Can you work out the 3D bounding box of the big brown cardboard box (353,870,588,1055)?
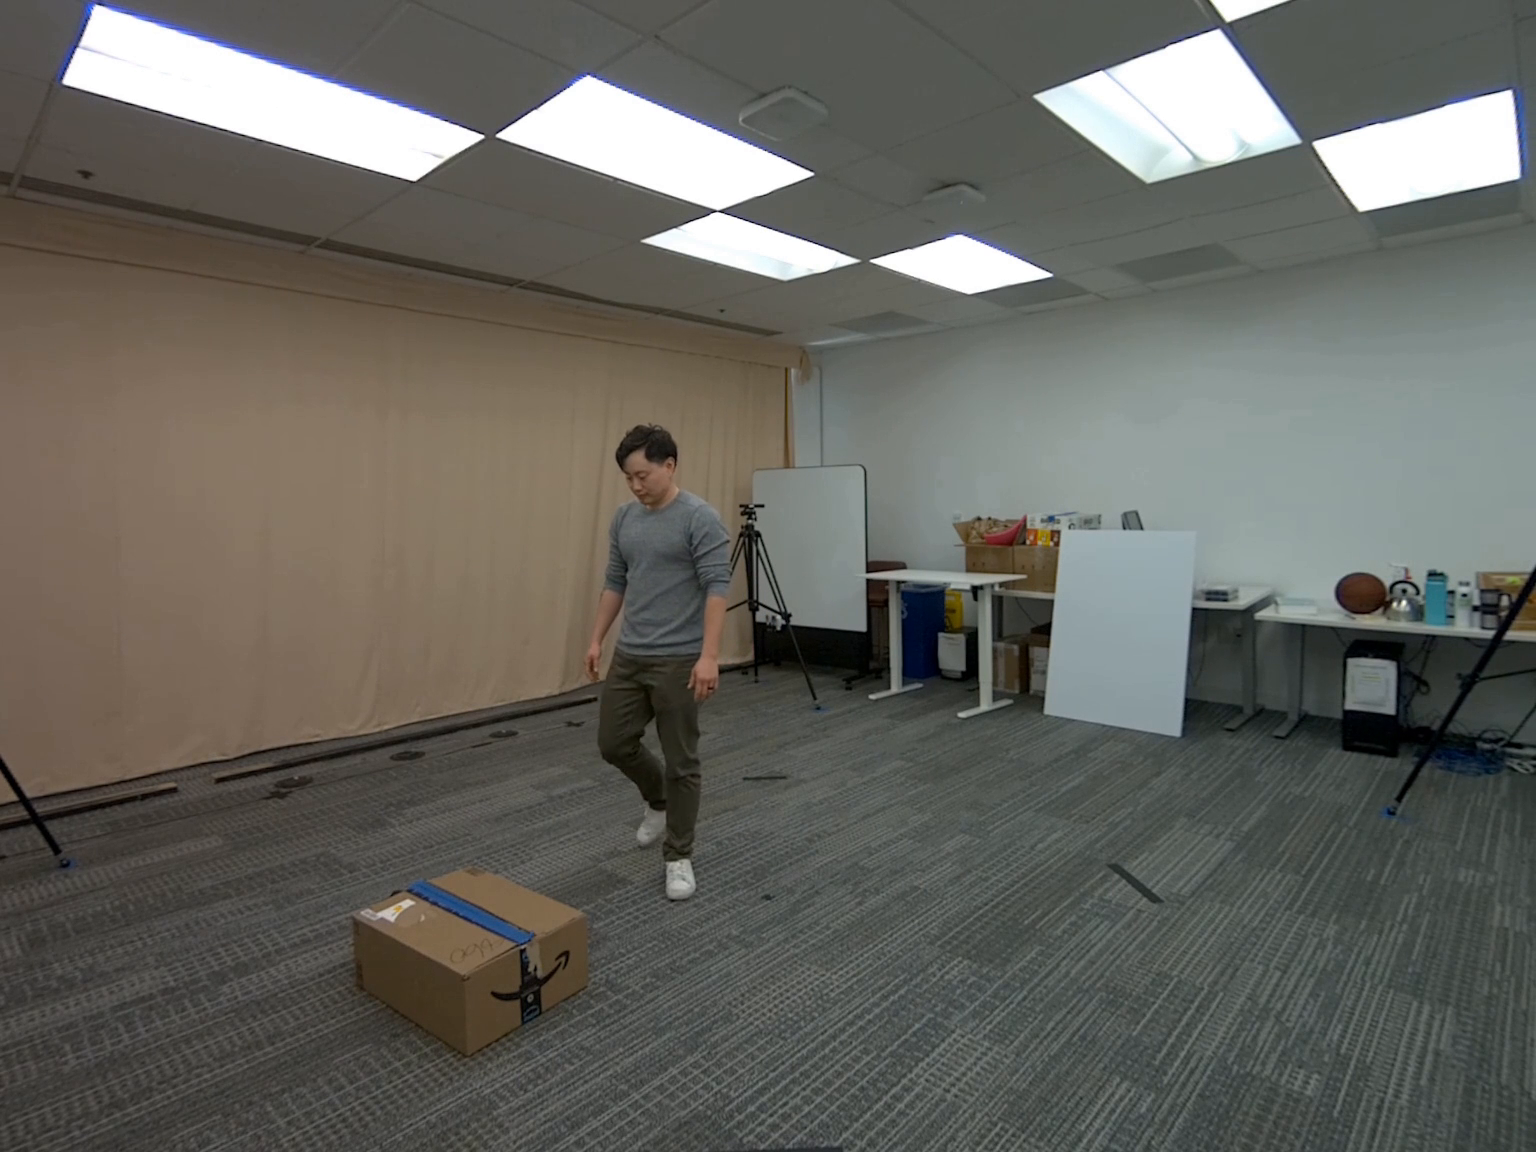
[{"bbox_3d":[-0.879,1.092,2.469,0.608,0.232,0.405,3,6,37],"label":"big brown cardboard box"}]
